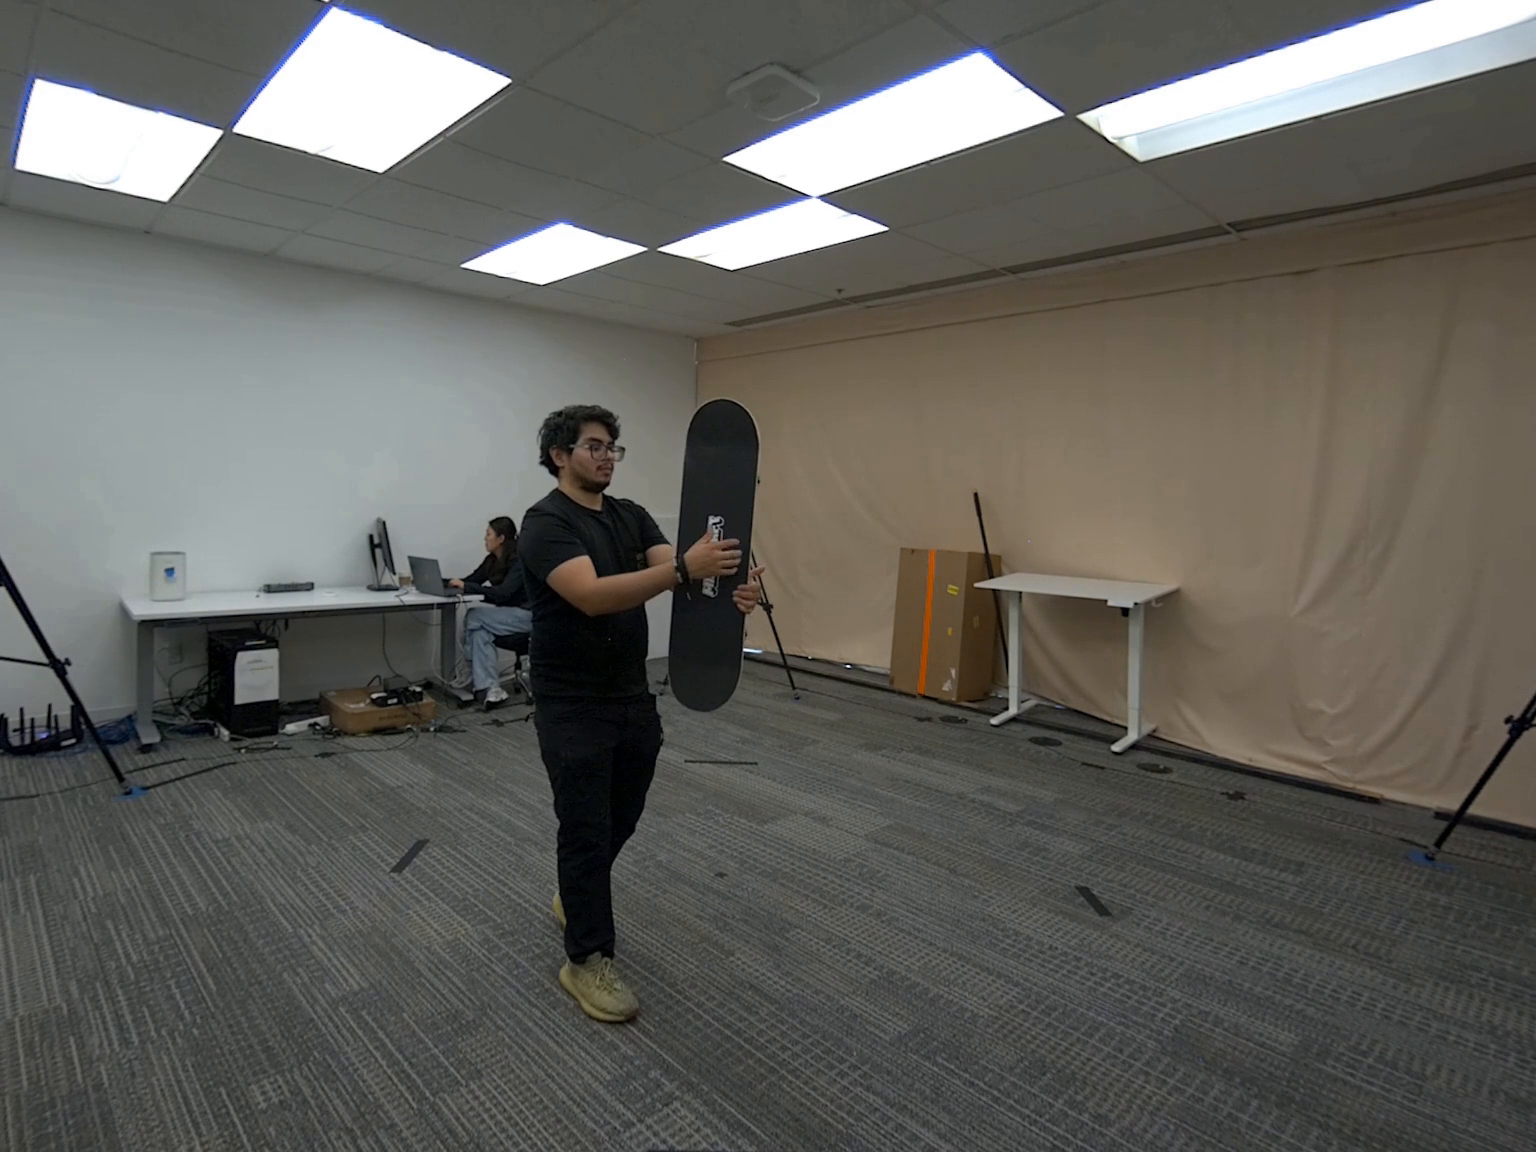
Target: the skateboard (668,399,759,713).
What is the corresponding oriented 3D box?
[{"bbox_3d":[-0.139,-0.050,2.168,0.195,0.784,0.109,5,2,10],"label":"skateboard"}]
